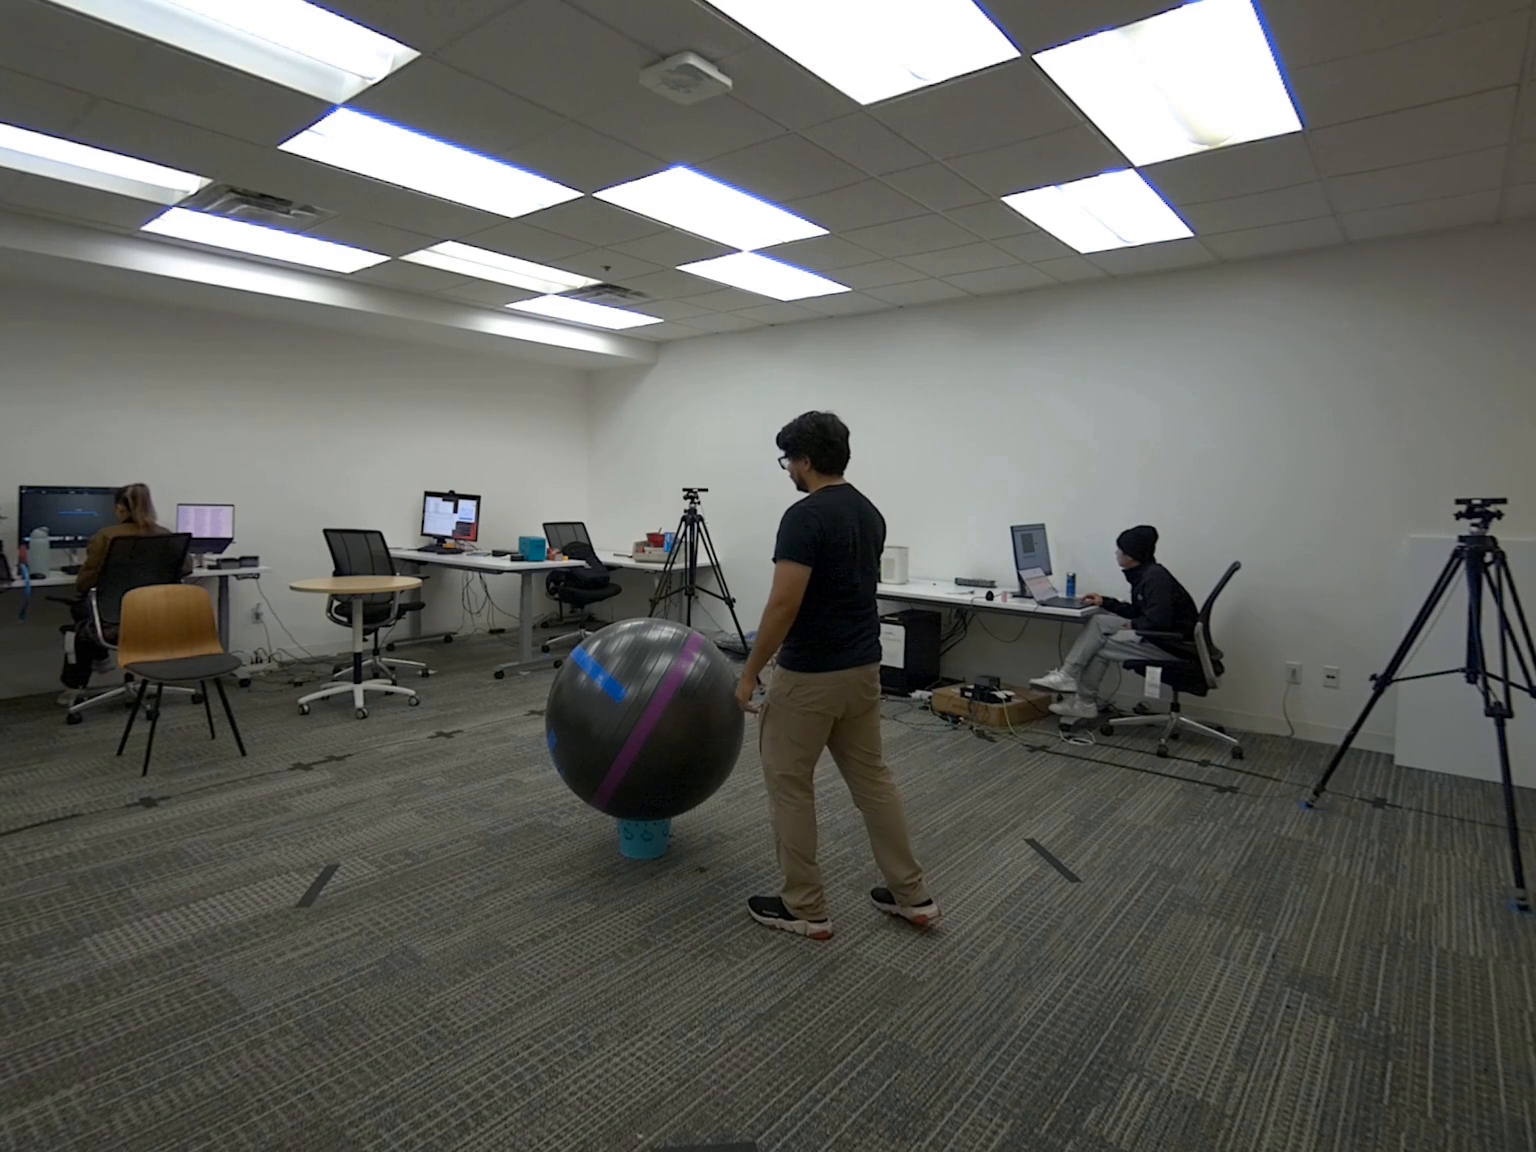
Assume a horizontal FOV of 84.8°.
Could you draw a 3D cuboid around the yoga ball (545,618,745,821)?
[{"bbox_3d":[-0.480,0.546,3.255,0.757,0.756,0.761,1,4,-2],"label":"yoga ball"}]
